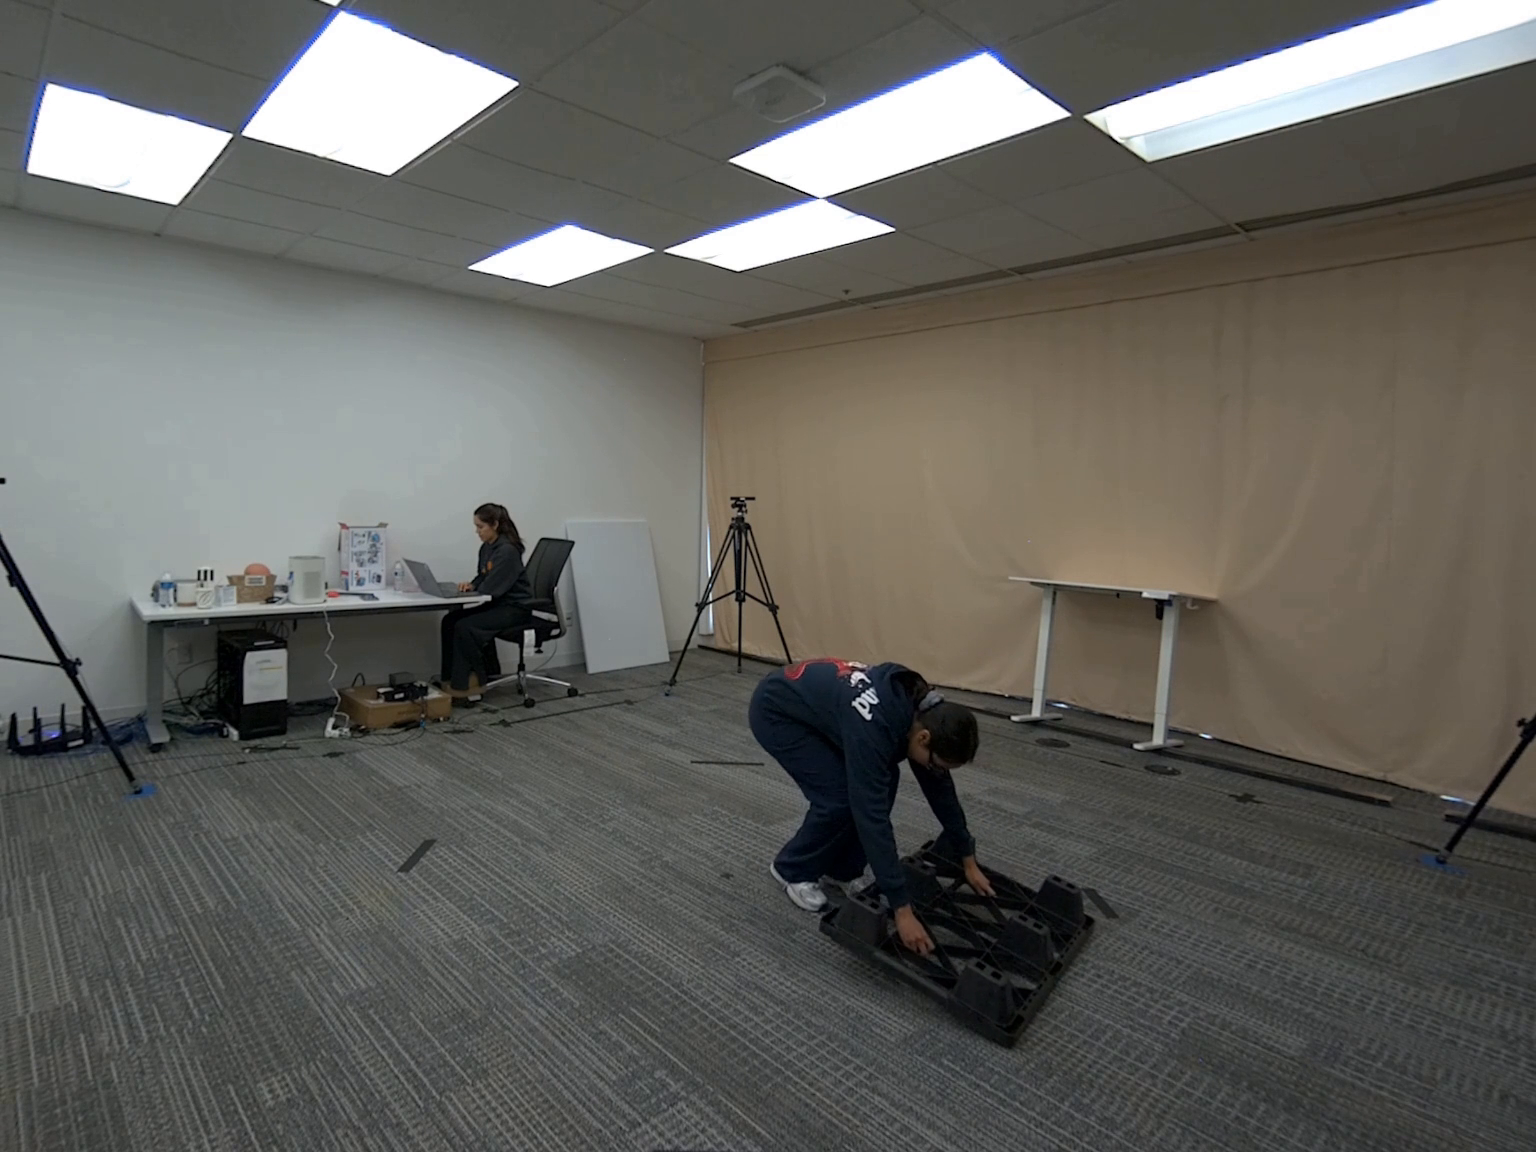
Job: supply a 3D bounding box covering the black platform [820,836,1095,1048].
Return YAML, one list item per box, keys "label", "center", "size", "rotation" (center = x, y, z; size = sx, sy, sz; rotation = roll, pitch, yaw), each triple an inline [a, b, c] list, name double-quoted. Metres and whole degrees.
- label: "black platform"
  center: [0.619, 1.055, 2.634]
  size: [0.622, 0.142, 0.788]
  rotation: [18, 13, 34]
